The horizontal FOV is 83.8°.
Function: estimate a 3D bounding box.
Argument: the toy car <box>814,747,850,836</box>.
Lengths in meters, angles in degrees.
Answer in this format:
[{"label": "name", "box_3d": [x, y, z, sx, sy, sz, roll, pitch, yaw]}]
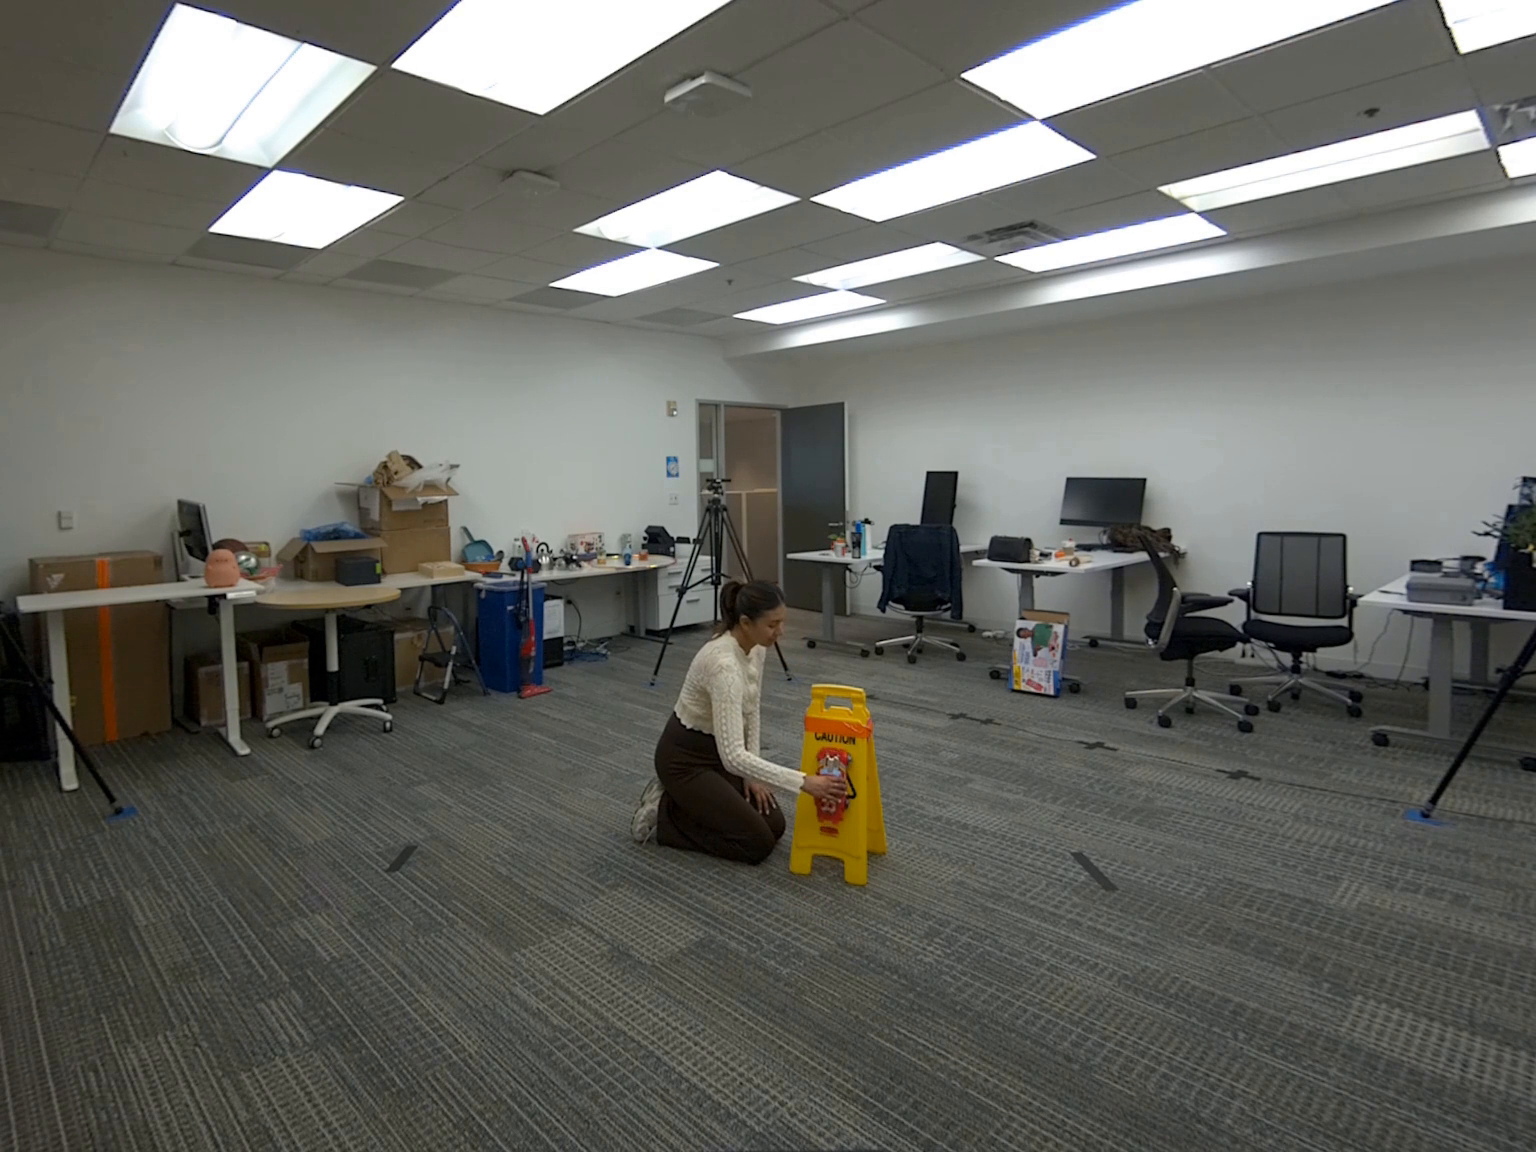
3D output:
[{"label": "toy car", "box_3d": [0.223, 0.742, 2.983, 0.133, 0.258, 0.080, 1, -18, 18]}]
